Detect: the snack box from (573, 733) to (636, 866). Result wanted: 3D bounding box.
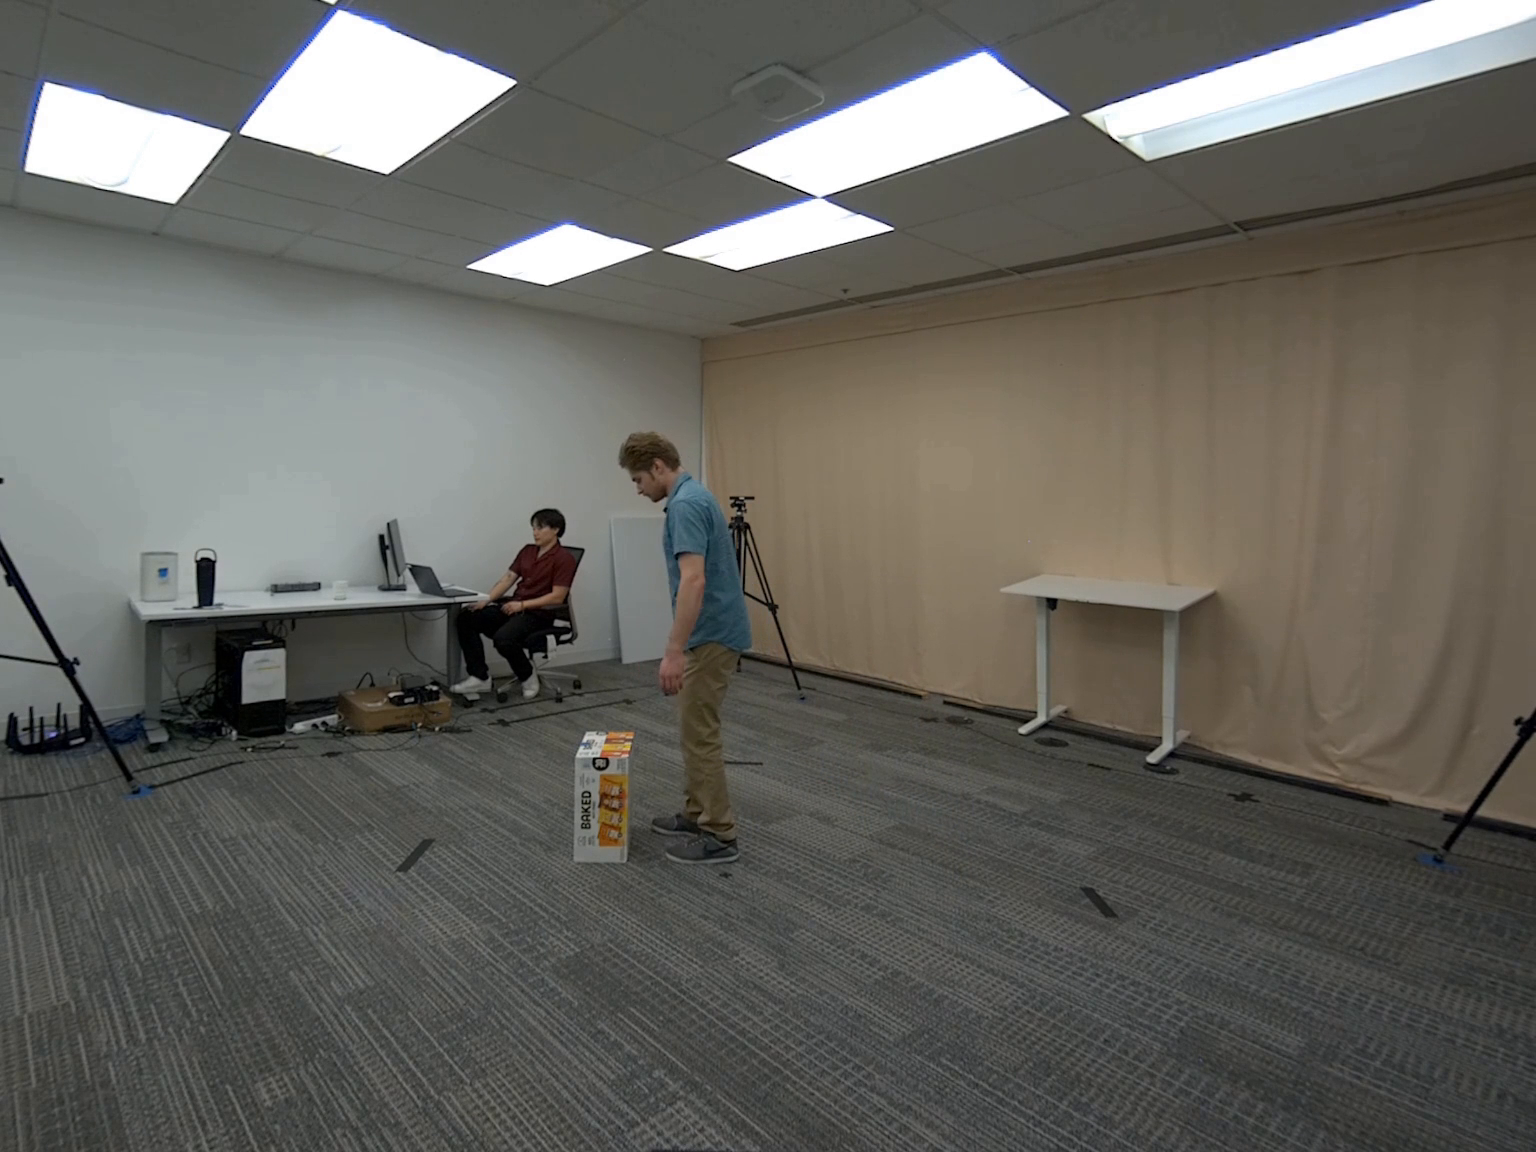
[{"bbox_3d":[-0.642,0.868,3.340,0.205,0.404,0.342,1,3,-6],"label":"snack box"}]
